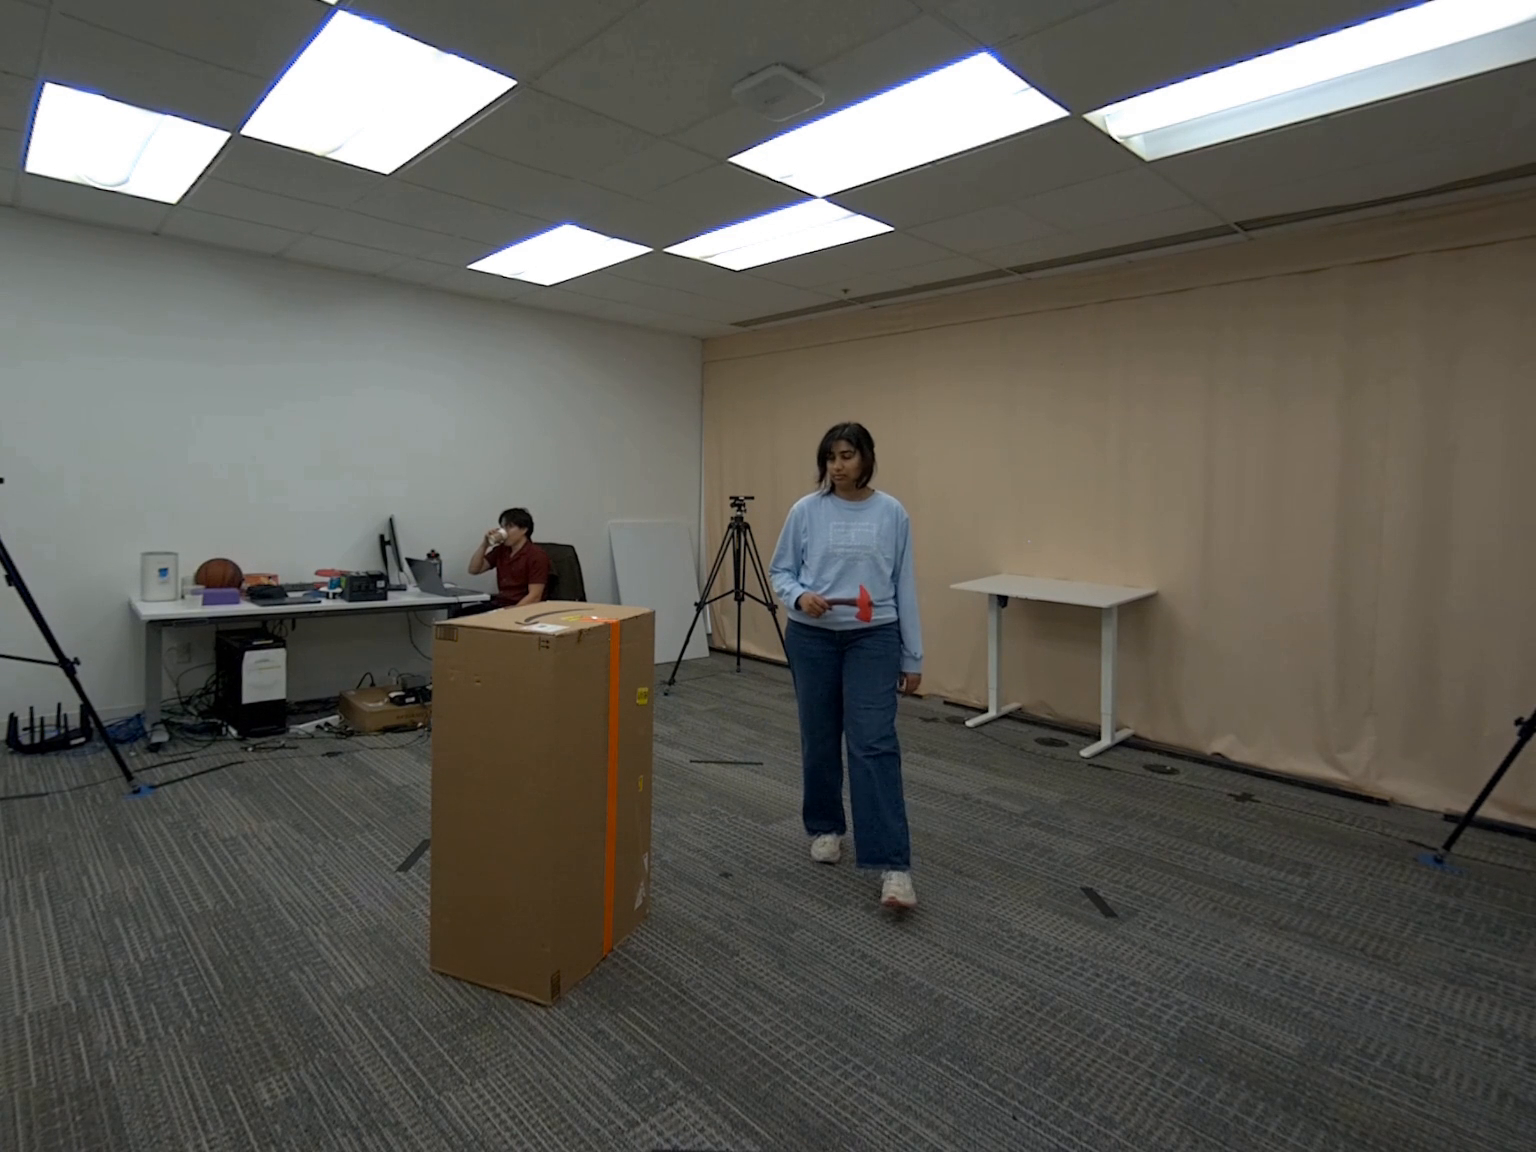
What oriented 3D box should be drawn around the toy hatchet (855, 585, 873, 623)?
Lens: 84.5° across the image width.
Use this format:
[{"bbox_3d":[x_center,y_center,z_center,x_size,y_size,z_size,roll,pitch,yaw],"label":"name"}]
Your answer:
[{"bbox_3d":[0.268,0.123,2.929,0.029,0.132,0.272,-24,-5,-36],"label":"toy hatchet"}]
